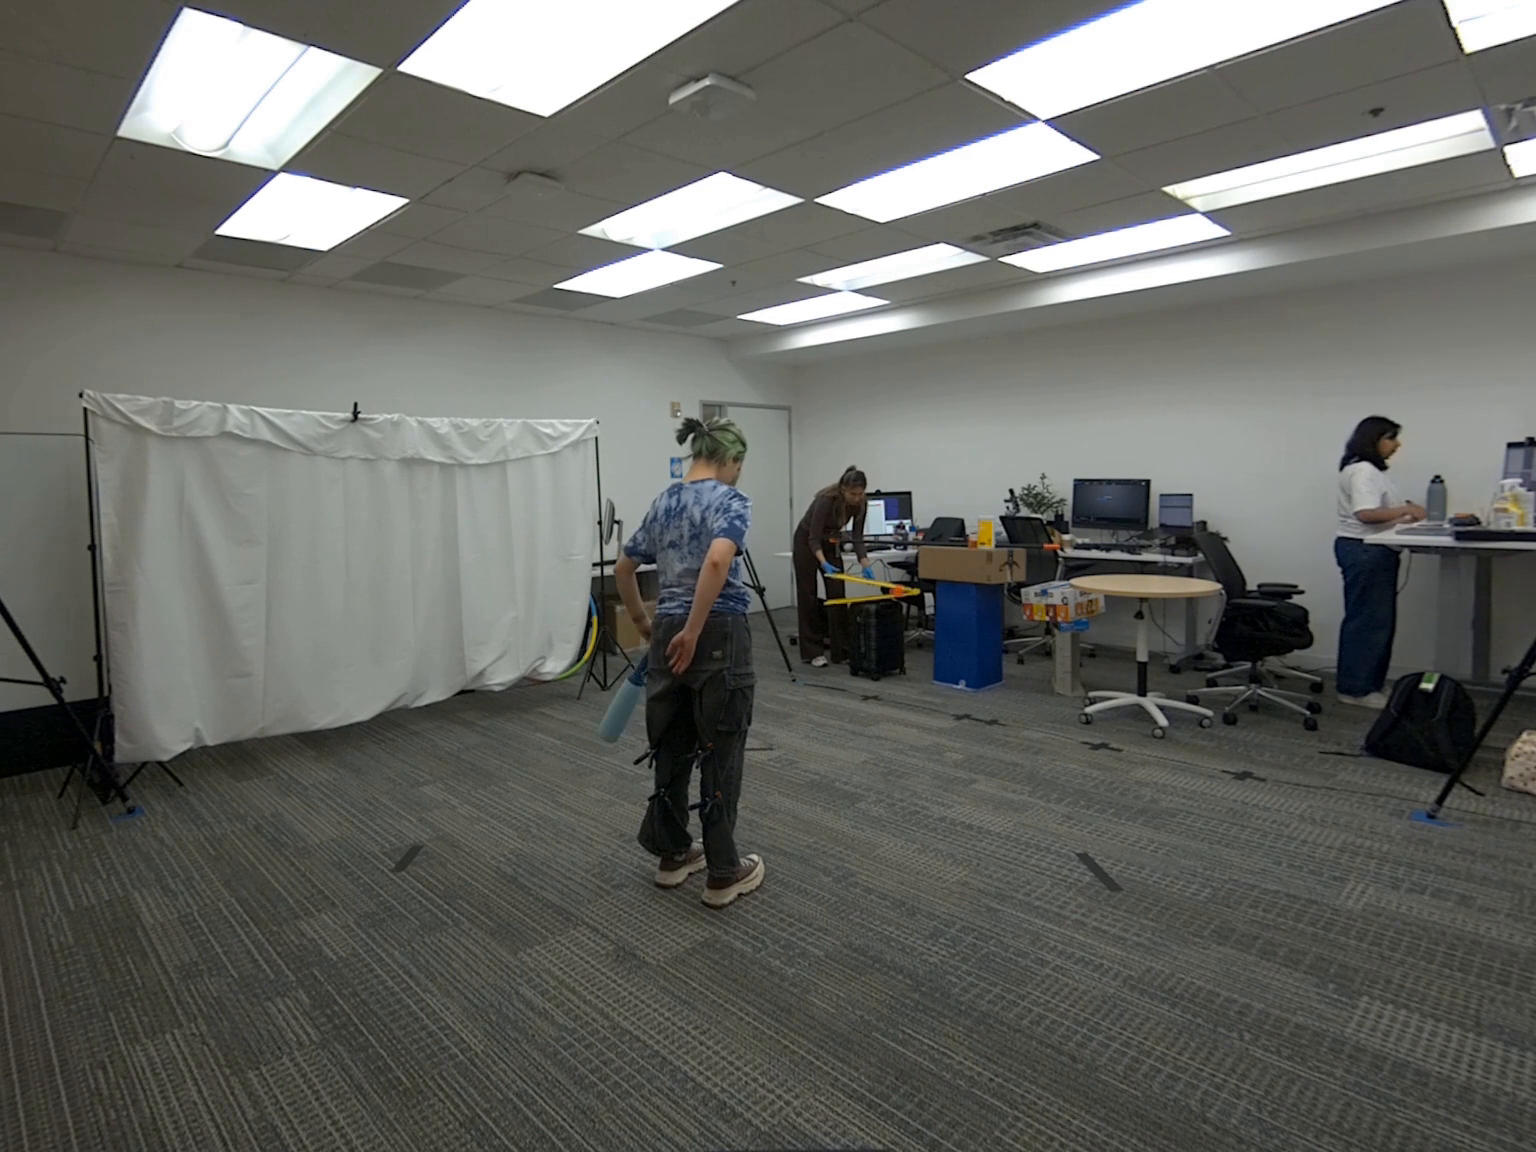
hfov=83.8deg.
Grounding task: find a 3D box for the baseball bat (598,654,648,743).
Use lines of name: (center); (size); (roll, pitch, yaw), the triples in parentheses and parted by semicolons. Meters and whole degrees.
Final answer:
baseball bat: (-0.483, 0.388, 3.201); (0.088, 0.541, 0.090); (28, 9, -7)
